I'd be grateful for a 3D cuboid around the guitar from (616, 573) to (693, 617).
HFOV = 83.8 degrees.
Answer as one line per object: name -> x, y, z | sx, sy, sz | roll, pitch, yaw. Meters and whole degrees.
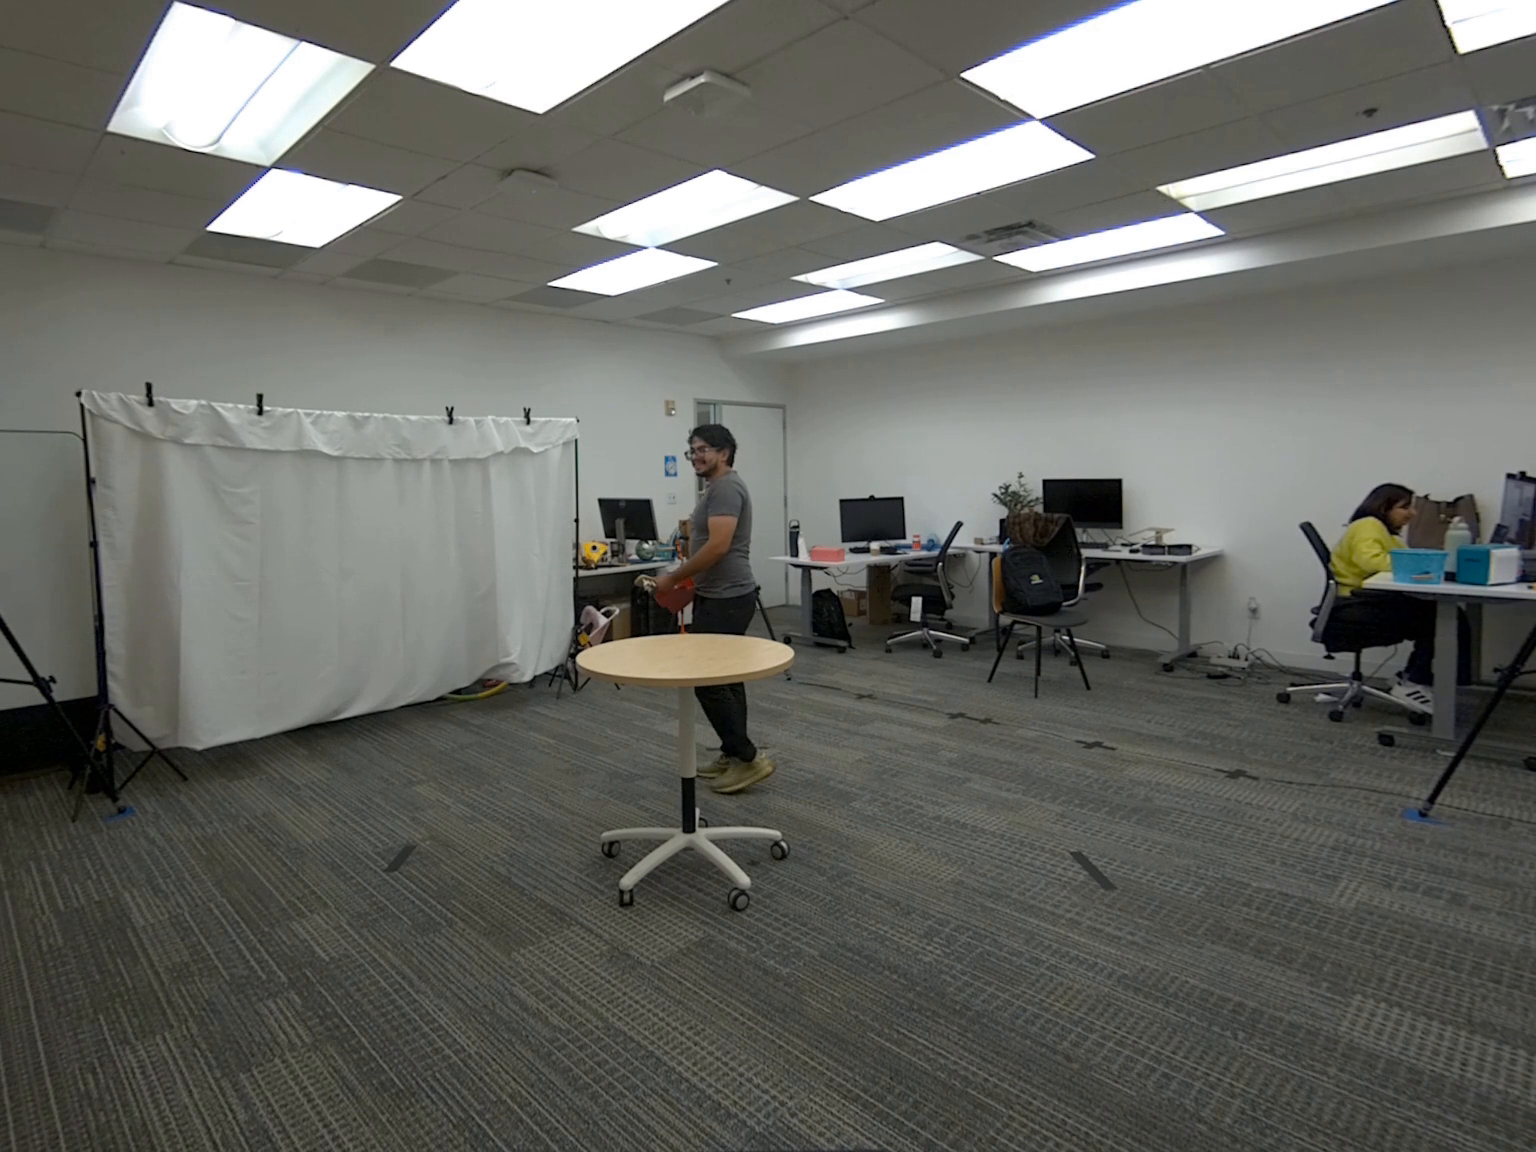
guitar -> -0.472, 0.085, 3.897 | 0.193, 0.072, 0.485 | -47, -19, 17
